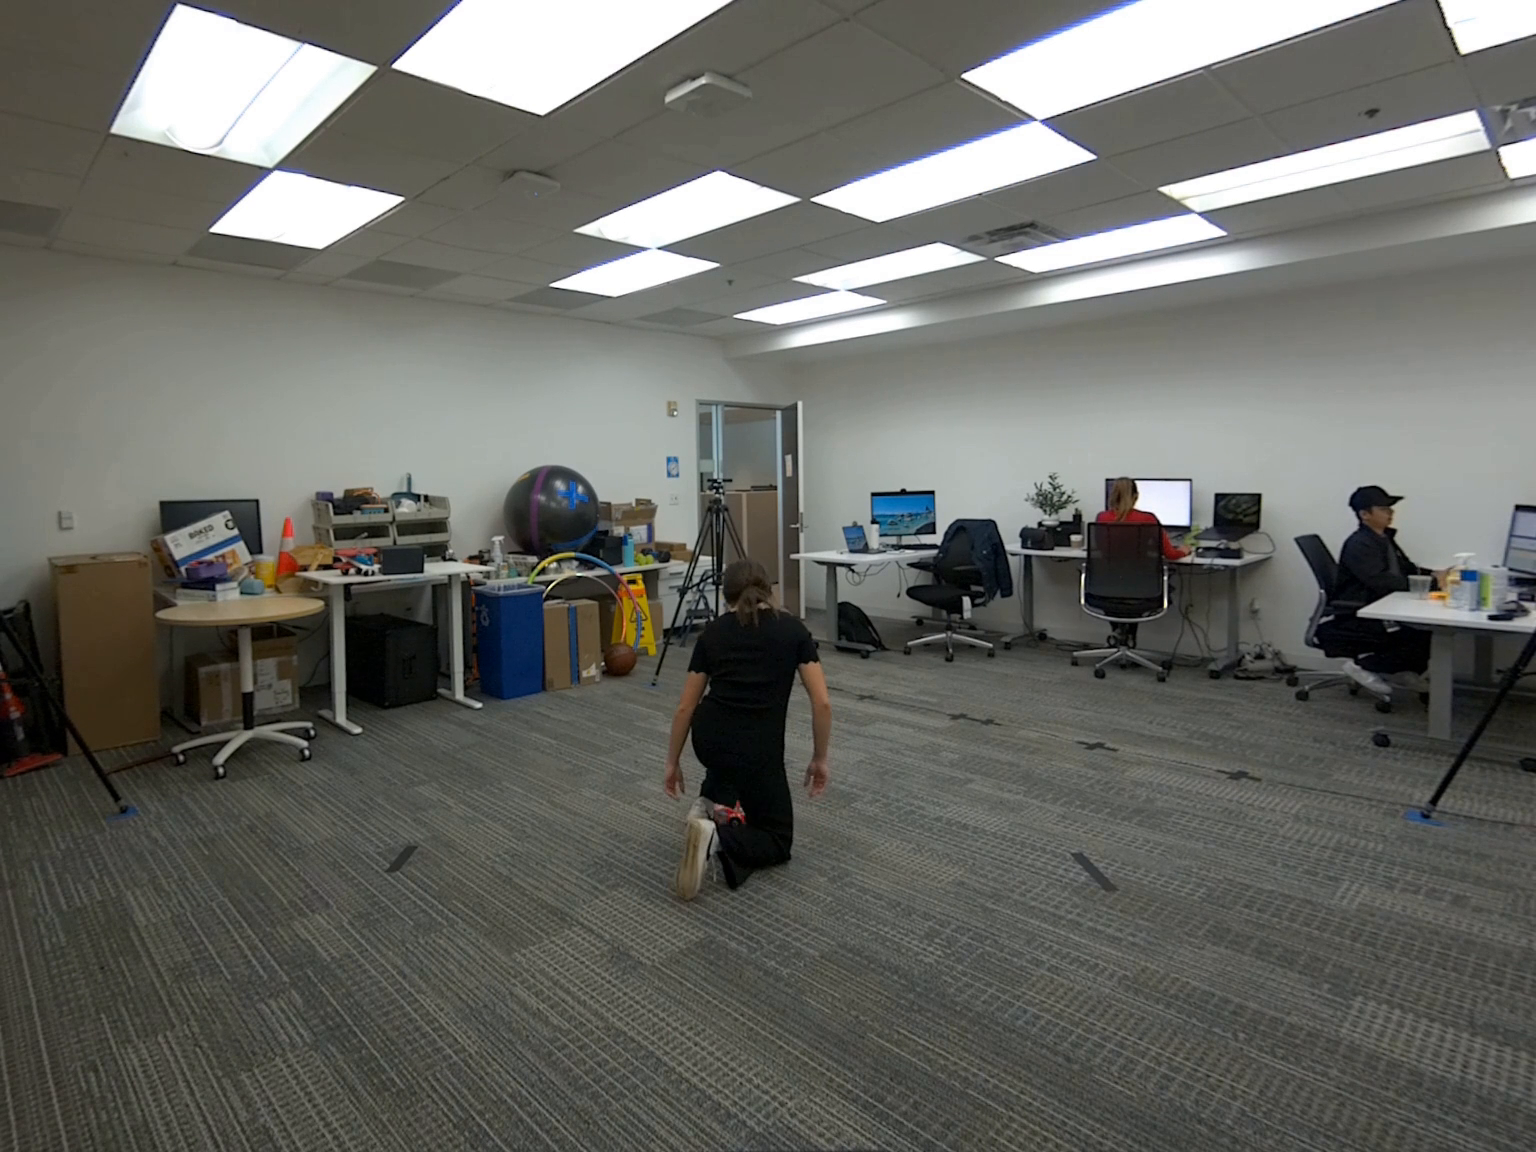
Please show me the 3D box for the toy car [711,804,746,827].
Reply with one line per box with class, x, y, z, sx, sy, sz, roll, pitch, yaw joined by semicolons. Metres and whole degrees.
toy car;-0.174;0.976;3.475;0.256;0.083;0.130;-11;3;5
